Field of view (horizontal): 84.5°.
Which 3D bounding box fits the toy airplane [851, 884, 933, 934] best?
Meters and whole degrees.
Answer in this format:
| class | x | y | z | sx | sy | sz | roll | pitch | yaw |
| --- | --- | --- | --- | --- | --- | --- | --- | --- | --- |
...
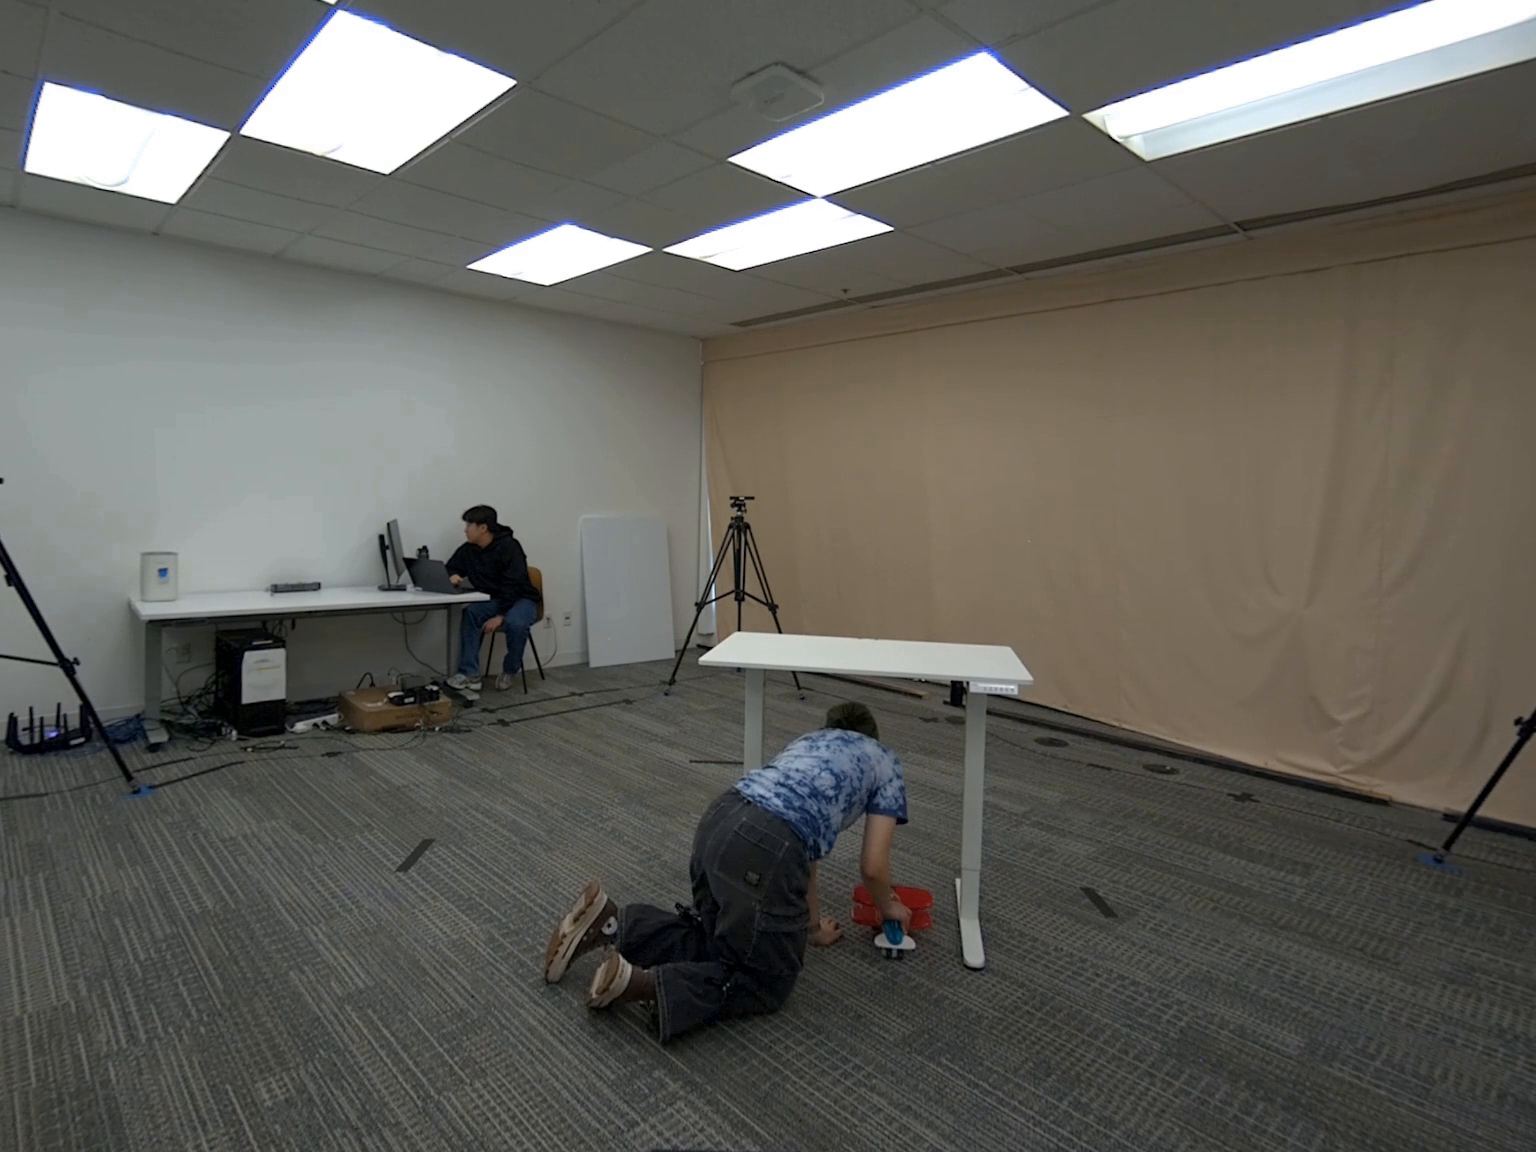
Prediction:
| class | x | y | z | sx | sy | sz | roll | pitch | yaw |
| --- | --- | --- | --- | --- | --- | --- | --- | --- | --- |
| toy airplane | 0.407 | 1.091 | 2.646 | 0.247 | 0.156 | 0.264 | 0 | 4 | -23 |
